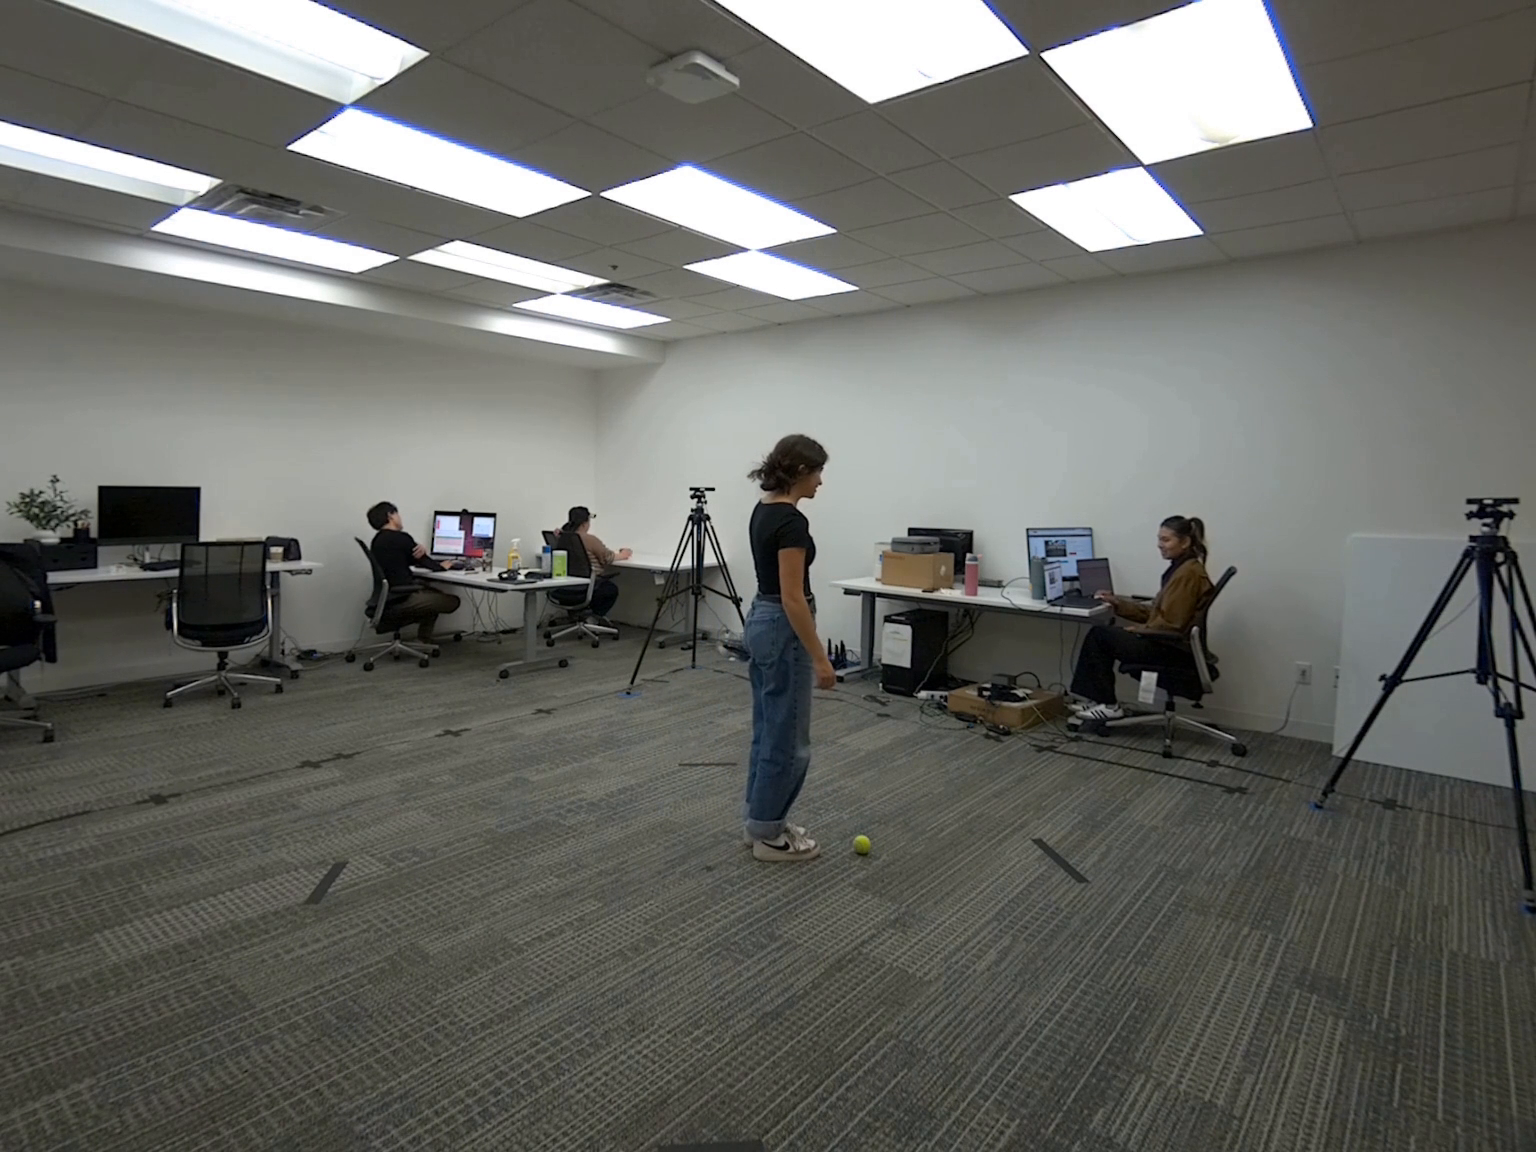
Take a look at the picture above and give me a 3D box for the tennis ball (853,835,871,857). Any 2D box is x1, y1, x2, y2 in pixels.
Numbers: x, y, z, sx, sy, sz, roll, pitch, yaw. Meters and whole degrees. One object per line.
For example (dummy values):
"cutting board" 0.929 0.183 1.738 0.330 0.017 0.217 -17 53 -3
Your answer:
"tennis ball" 0.357 1.029 3.271 0.066 0.066 0.067 1 4 -2
